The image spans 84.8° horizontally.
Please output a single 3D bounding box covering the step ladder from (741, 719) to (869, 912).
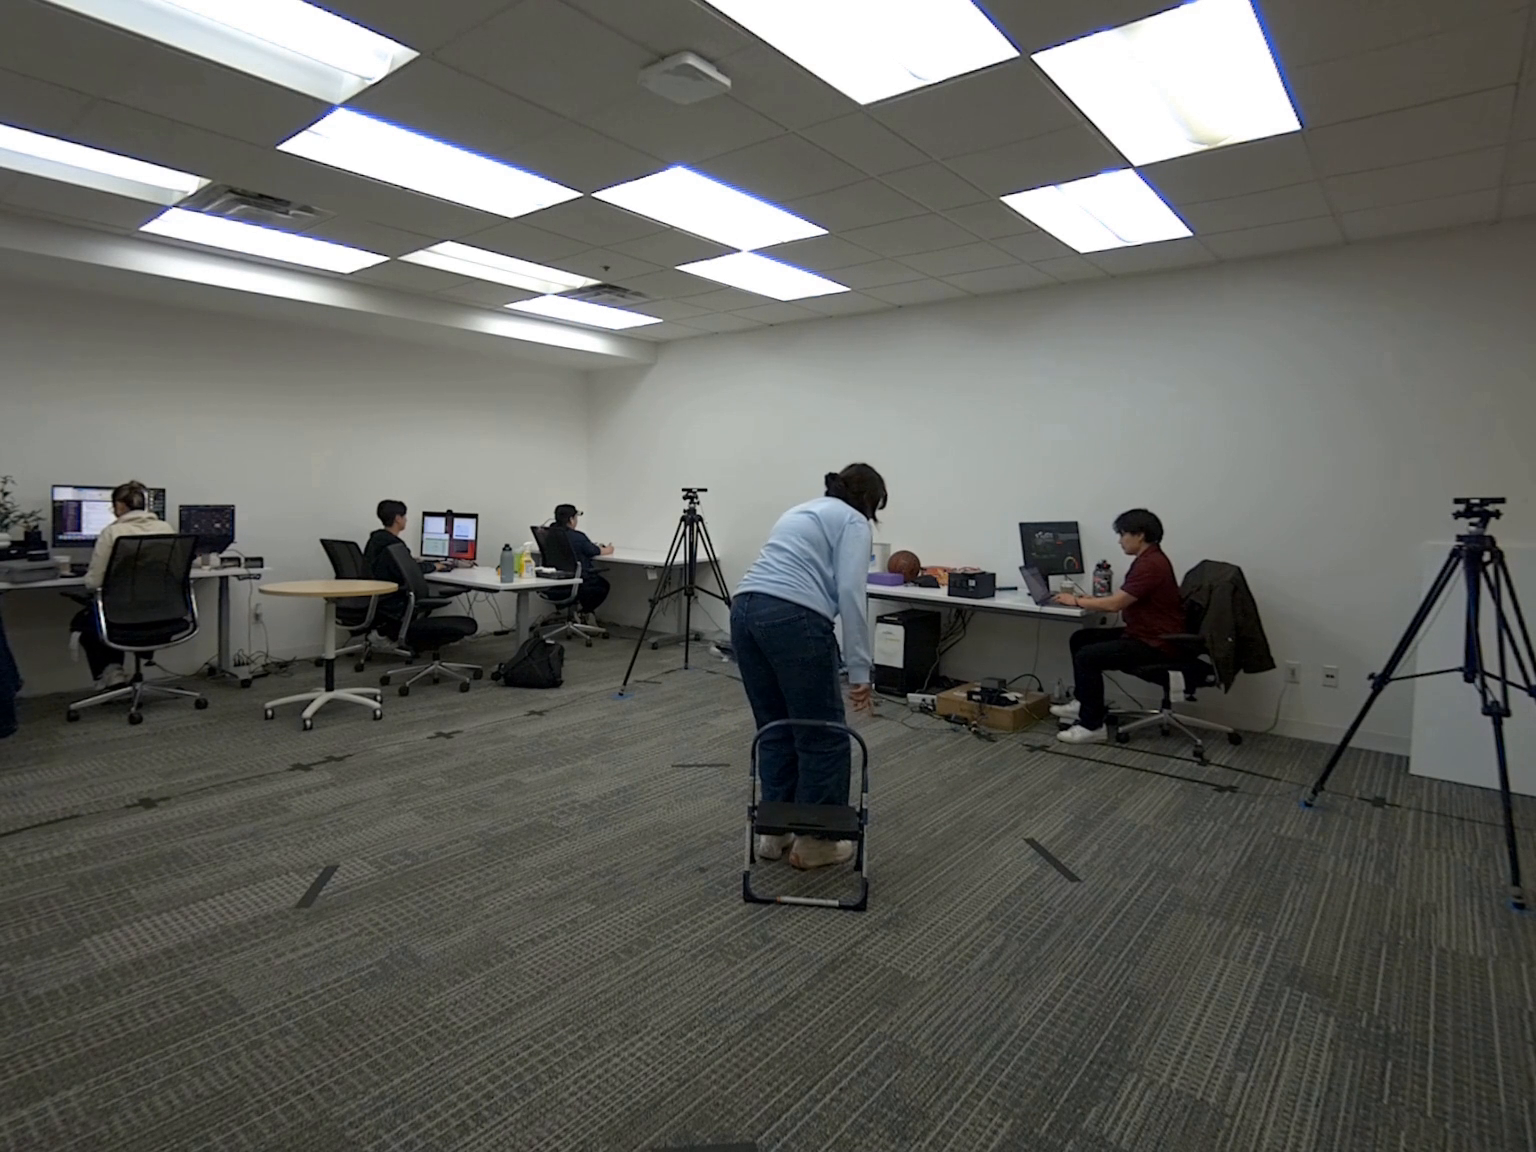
[{"bbox_3d":[0.130,0.786,2.996,0.433,0.605,0.348,2,2,4],"label":"step ladder"}]
